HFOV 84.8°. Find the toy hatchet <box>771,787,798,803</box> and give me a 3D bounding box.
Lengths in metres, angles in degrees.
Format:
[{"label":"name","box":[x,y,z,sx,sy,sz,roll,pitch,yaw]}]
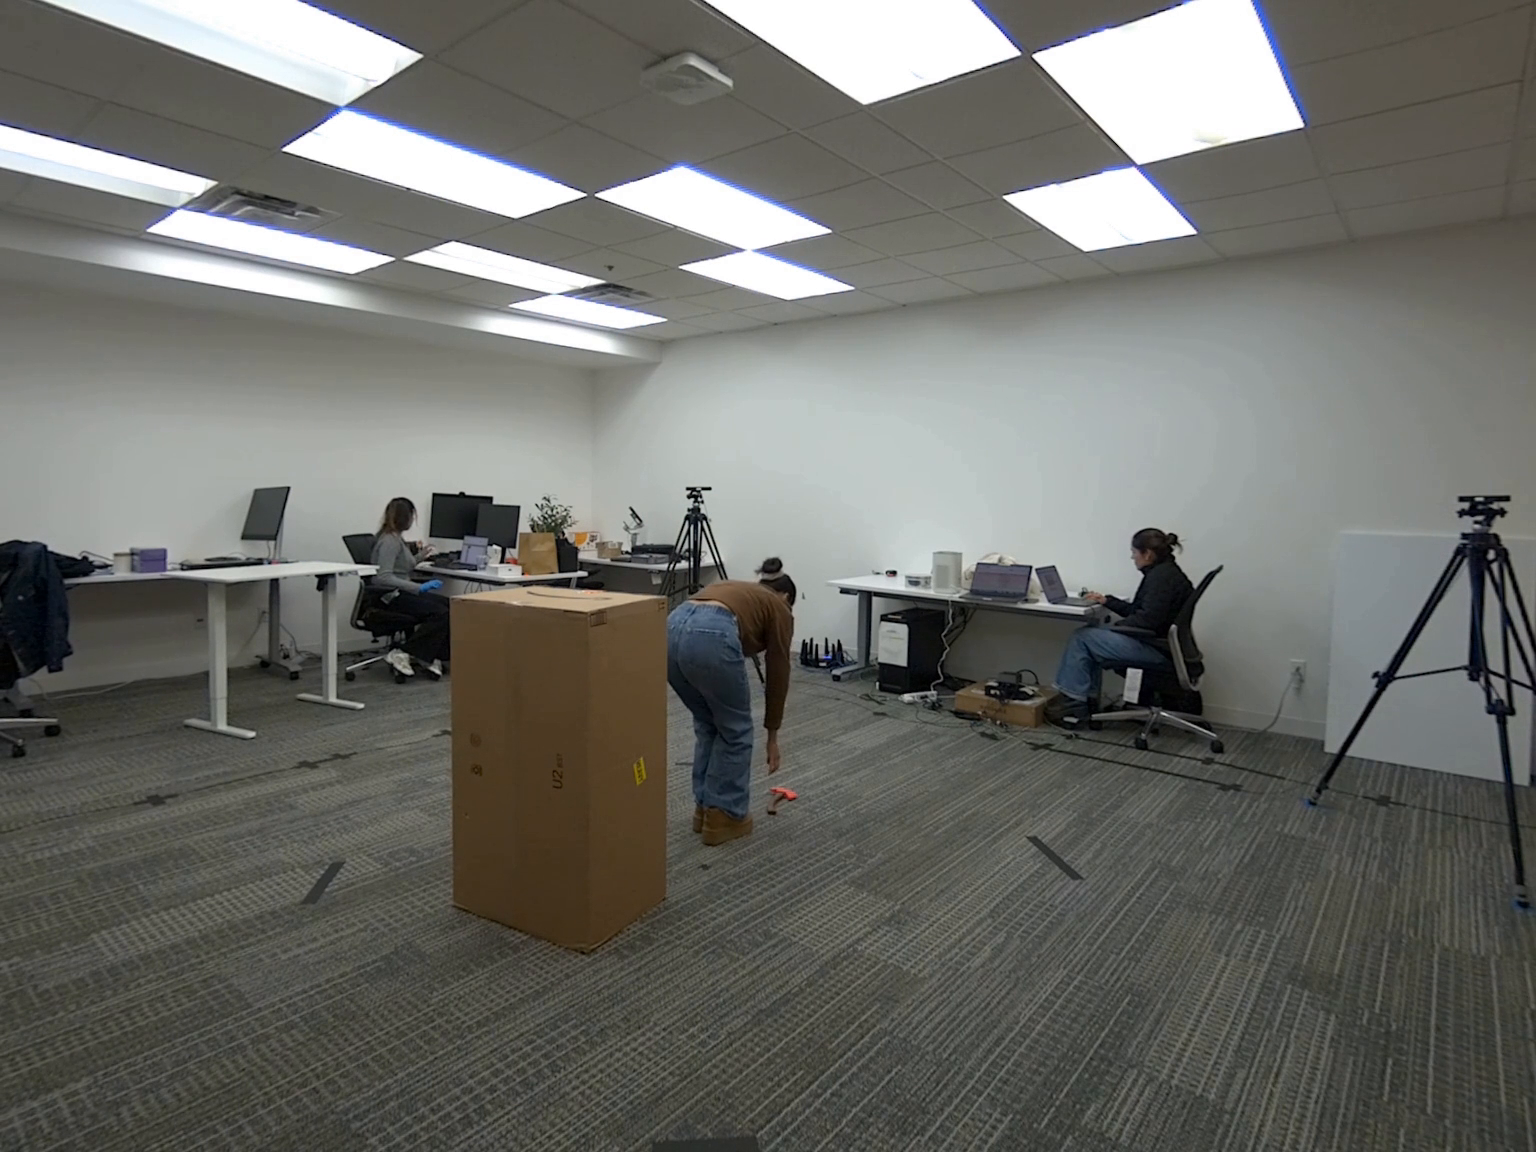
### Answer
[{"label":"toy hatchet","box":[0.055,0.997,3.767,0.132,0.029,0.270,5,8,2]}]
